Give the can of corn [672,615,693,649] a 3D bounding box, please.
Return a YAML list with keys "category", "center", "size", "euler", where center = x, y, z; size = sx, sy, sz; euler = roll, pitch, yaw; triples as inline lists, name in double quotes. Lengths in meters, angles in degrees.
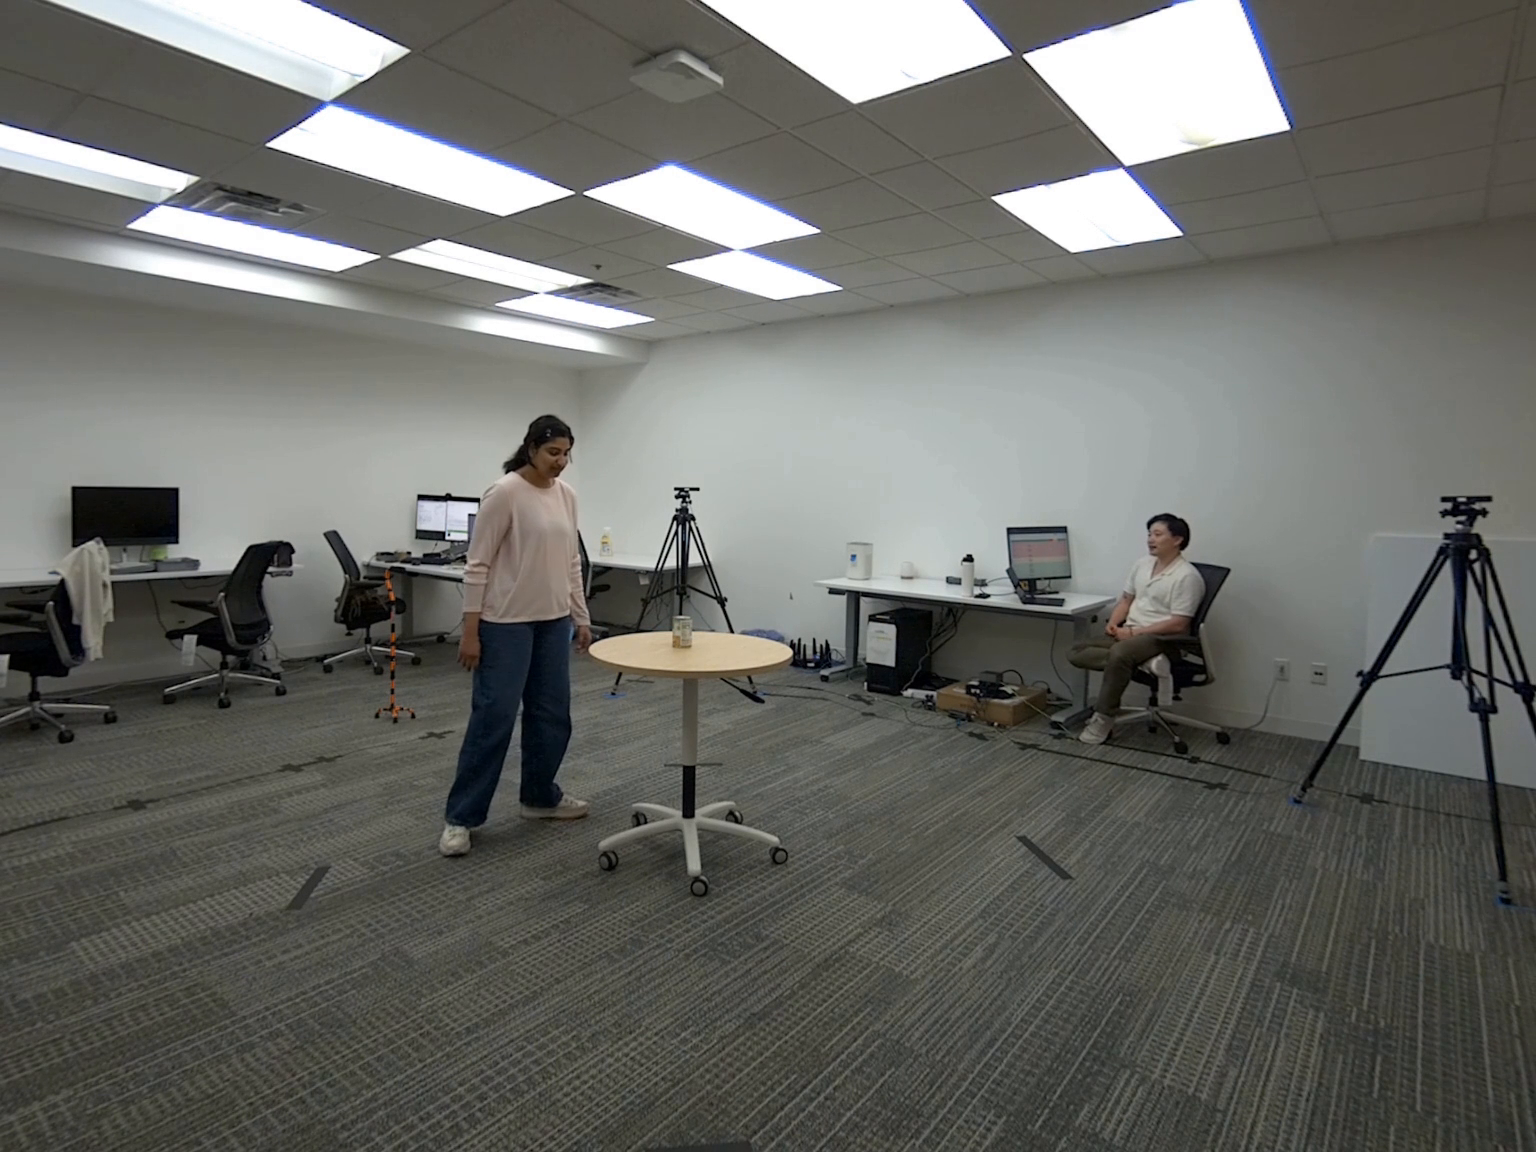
- category: "can of corn"
  center: [-0.337, 0.211, 3.249]
  size: [0.074, 0.110, 0.074]
  euler: [1, 4, -2]
